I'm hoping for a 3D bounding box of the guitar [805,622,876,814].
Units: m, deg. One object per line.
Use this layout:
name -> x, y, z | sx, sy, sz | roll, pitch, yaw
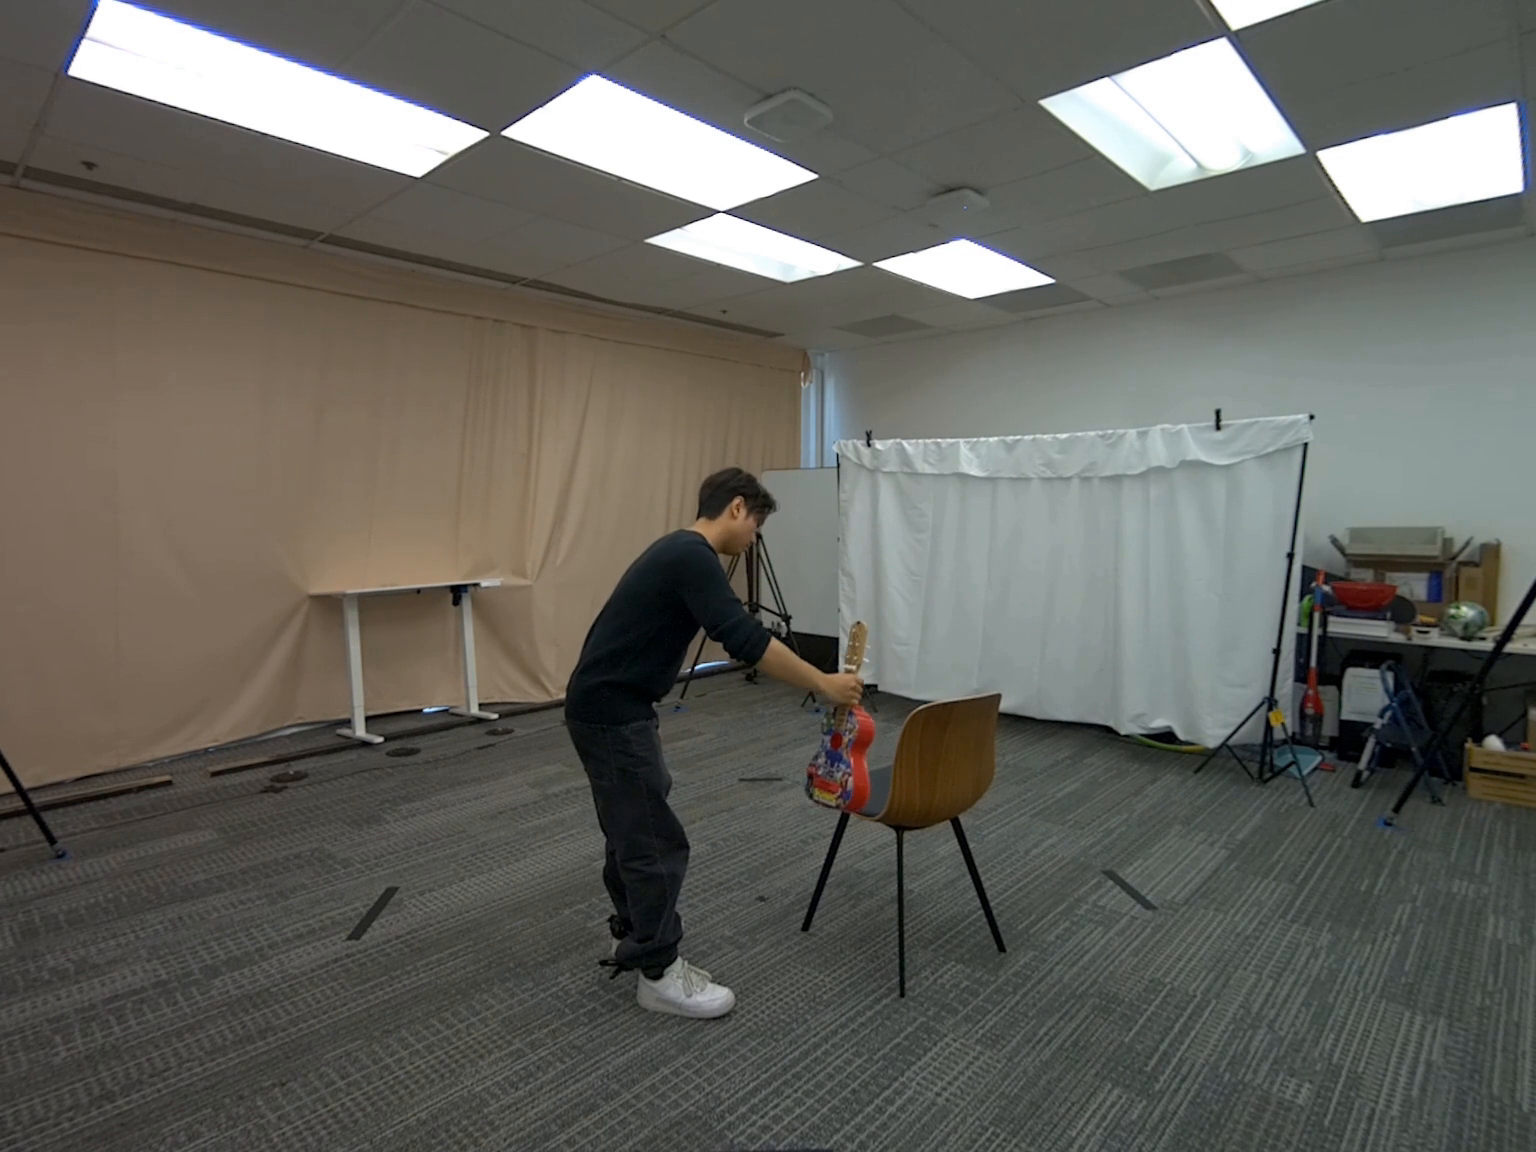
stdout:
guitar -> 0.240, 0.382, 2.231 | 0.068, 0.498, 0.199 | 17, -1, -33
